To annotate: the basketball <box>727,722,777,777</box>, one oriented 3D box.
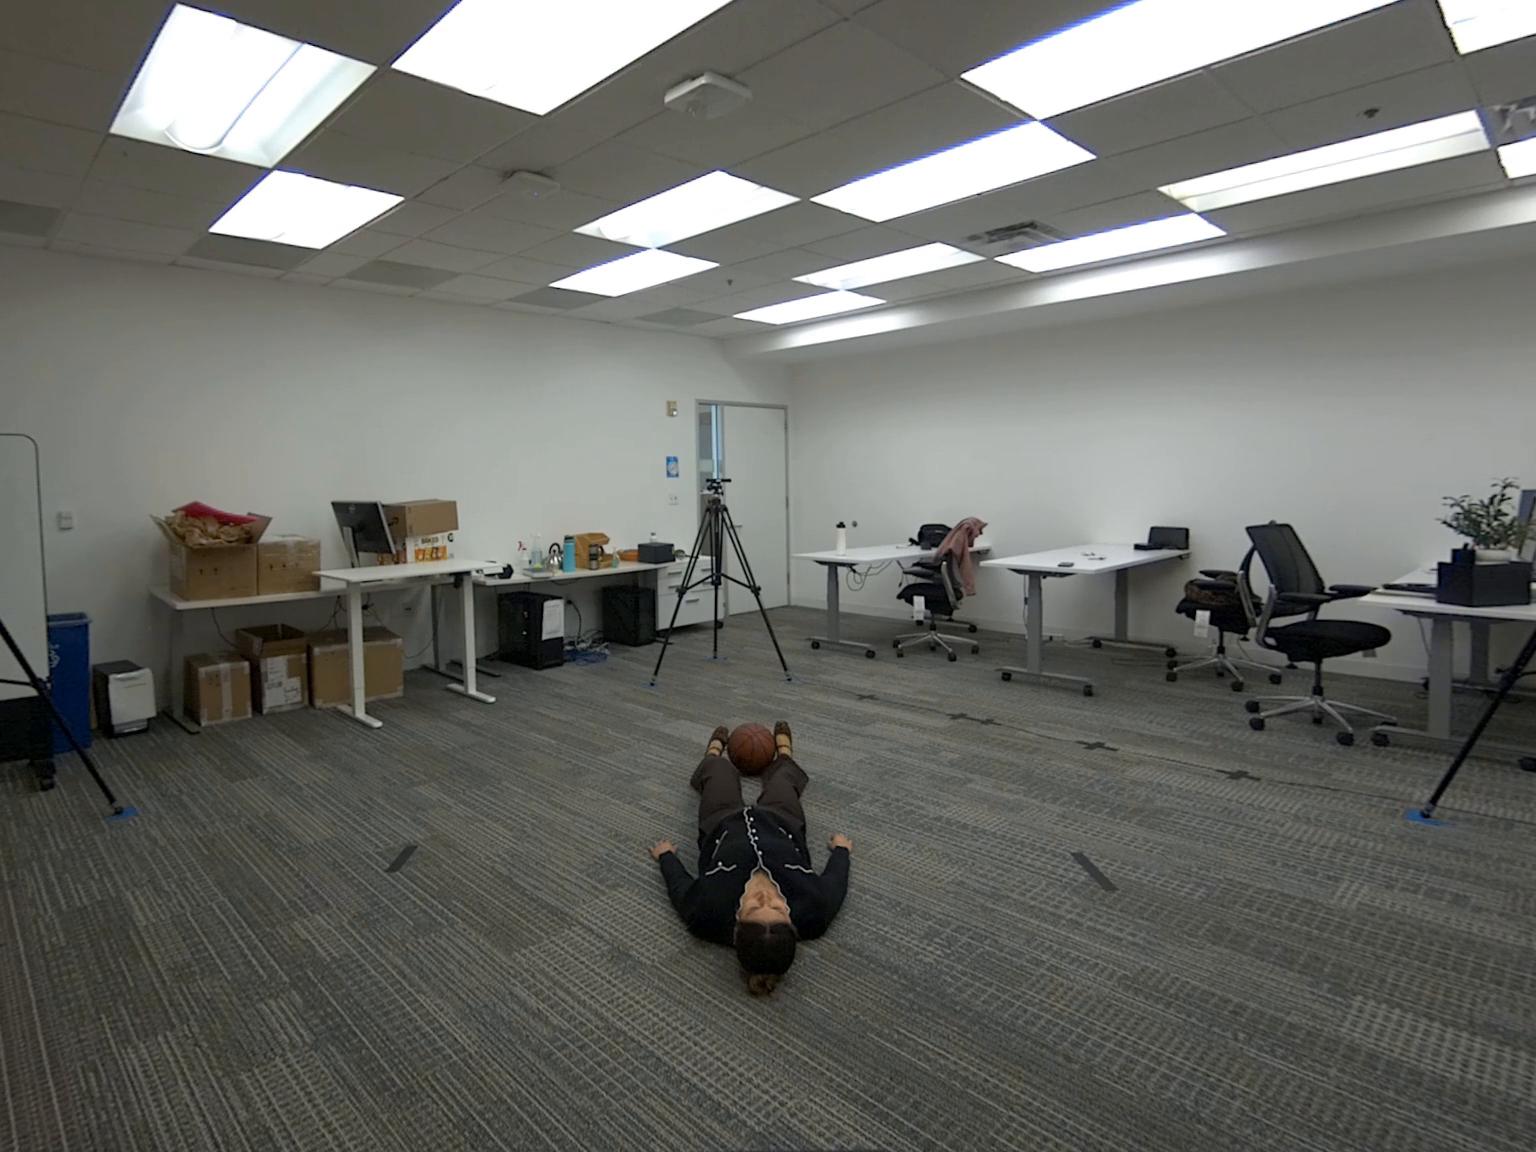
[{"bbox_3d":[-0.084,0.818,4.069,0.236,0.235,0.237,-4,4,-1],"label":"basketball"}]
